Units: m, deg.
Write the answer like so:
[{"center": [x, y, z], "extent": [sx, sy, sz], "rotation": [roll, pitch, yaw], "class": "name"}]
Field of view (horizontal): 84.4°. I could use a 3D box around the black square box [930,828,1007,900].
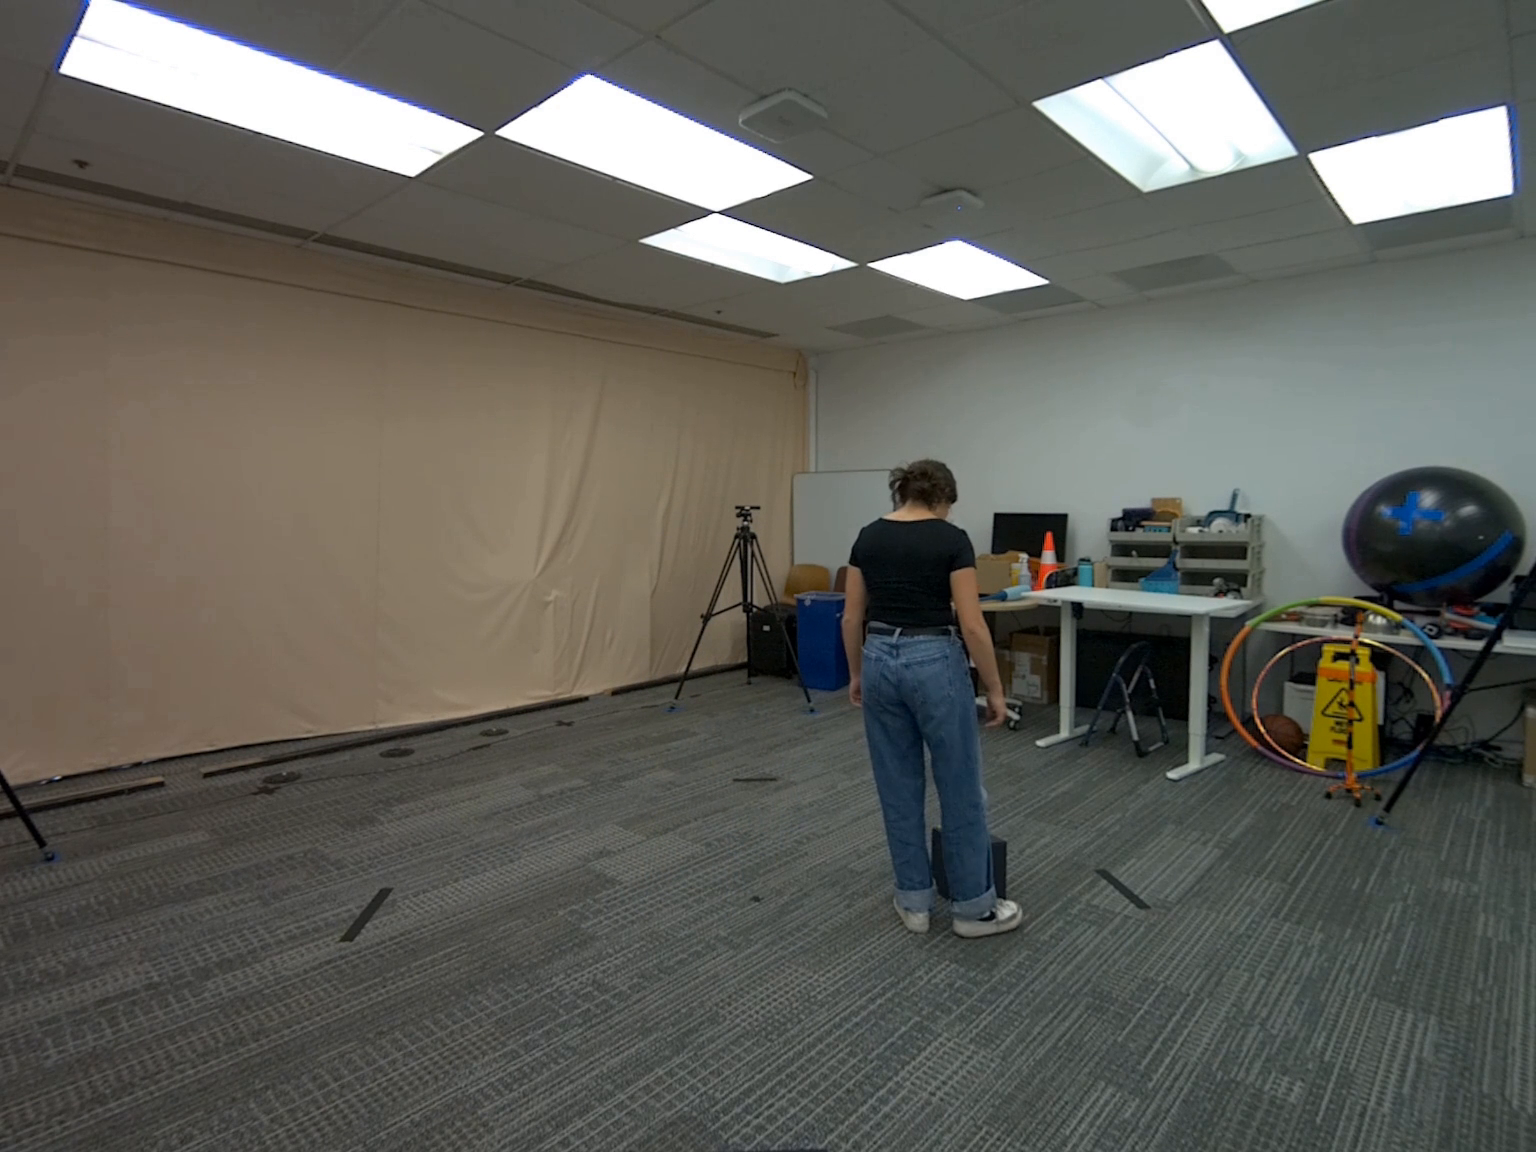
[{"center": [0.711, 1.021, 2.984], "extent": [0.152, 0.228, 0.223], "rotation": [0, 2, -28], "class": "black square box"}]
